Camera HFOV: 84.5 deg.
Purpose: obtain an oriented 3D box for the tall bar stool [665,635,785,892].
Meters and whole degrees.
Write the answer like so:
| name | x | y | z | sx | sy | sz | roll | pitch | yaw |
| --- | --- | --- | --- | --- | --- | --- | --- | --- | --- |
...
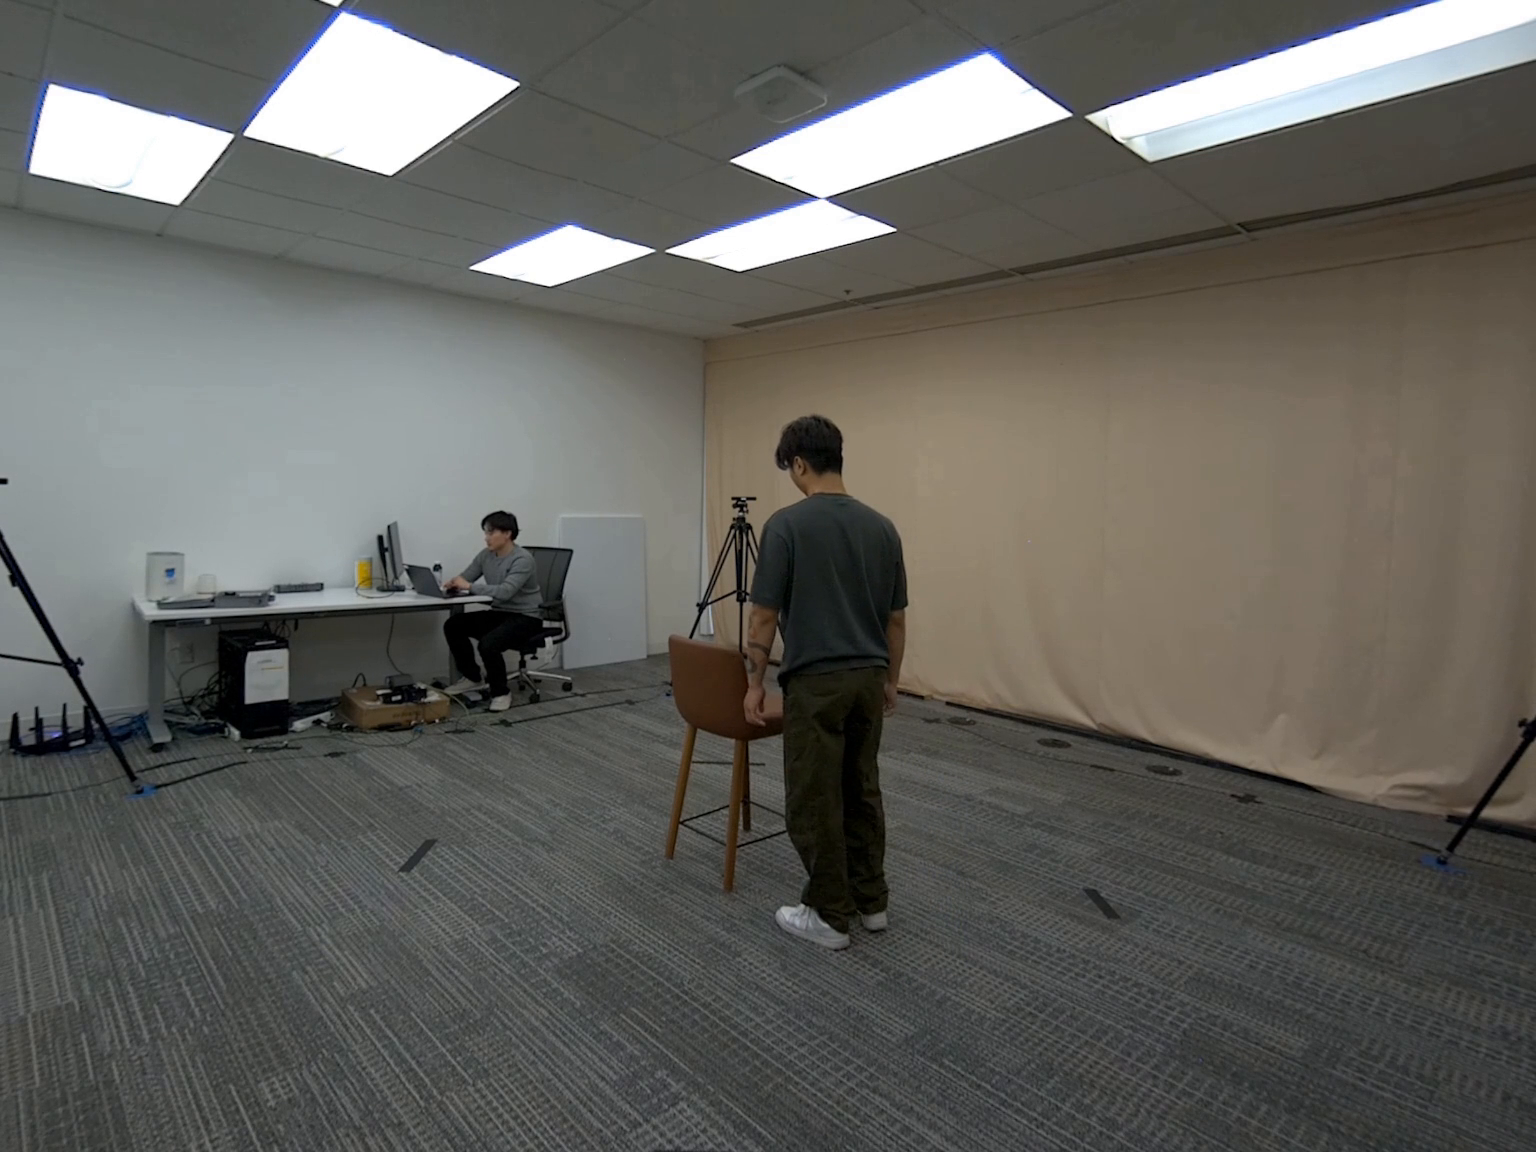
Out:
| name | x | y | z | sx | sy | sz | roll | pitch | yaw |
| --- | --- | --- | --- | --- | --- | --- | --- | --- | --- |
| tall bar stool | -0.113 | 0.663 | 3.233 | 0.457 | 0.887 | 0.468 | -3 | 5 | -43 |
